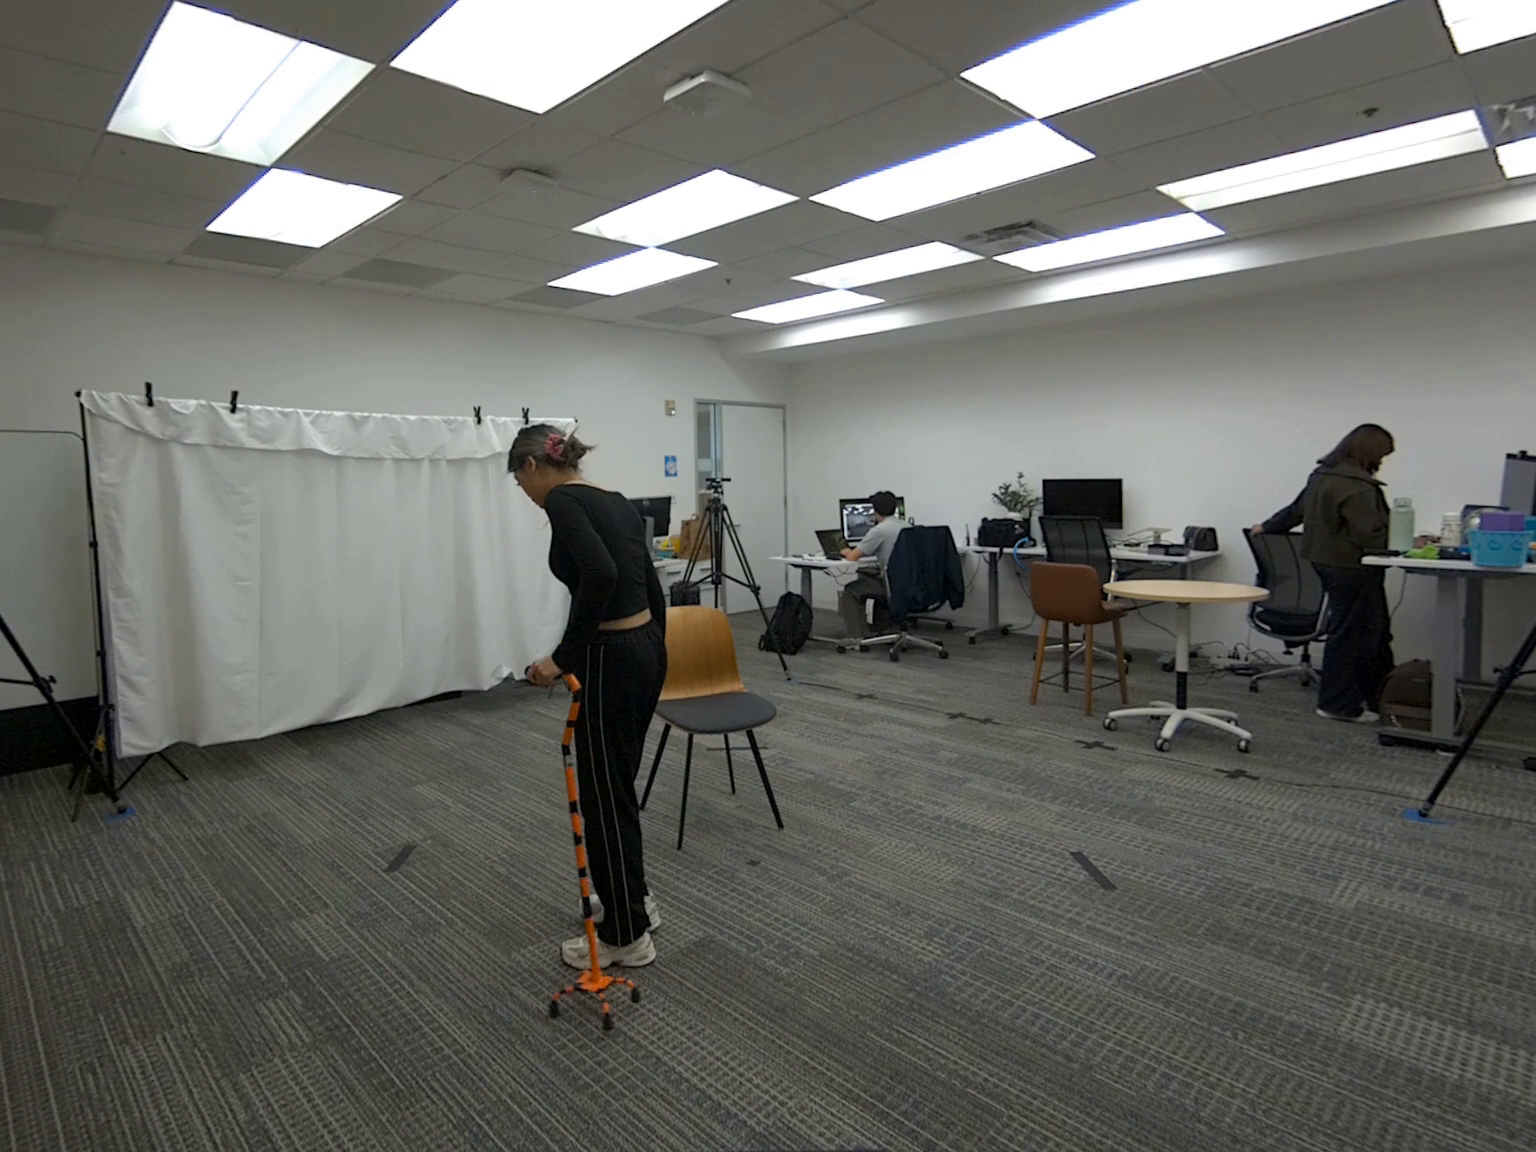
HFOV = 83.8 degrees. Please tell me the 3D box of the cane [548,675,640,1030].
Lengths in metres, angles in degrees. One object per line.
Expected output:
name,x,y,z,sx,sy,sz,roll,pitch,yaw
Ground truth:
cane,-0.511,0.700,2.232,0.211,0.905,0.149,-3,4,25
